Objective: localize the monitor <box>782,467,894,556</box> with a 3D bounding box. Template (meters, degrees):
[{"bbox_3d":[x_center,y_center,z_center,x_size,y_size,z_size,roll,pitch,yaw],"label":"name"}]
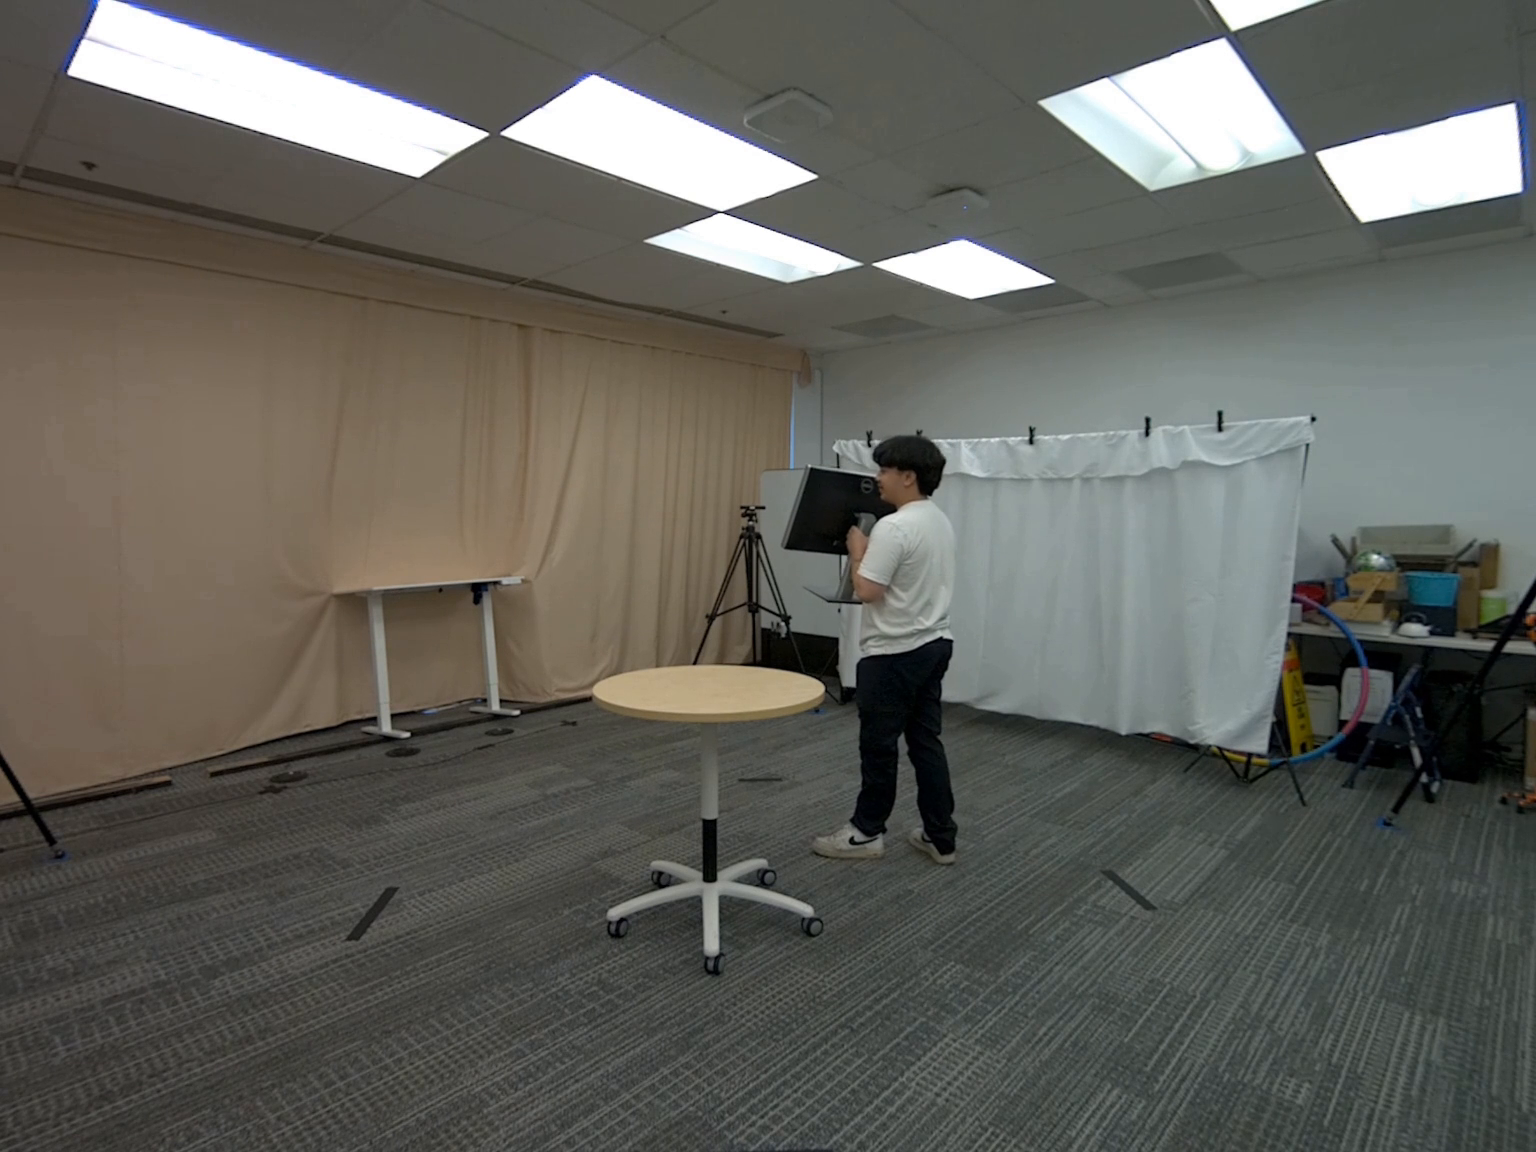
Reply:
[{"bbox_3d":[0.362,-0.144,3.455,0.550,0.551,0.217,6,17,-28],"label":"monitor"}]
